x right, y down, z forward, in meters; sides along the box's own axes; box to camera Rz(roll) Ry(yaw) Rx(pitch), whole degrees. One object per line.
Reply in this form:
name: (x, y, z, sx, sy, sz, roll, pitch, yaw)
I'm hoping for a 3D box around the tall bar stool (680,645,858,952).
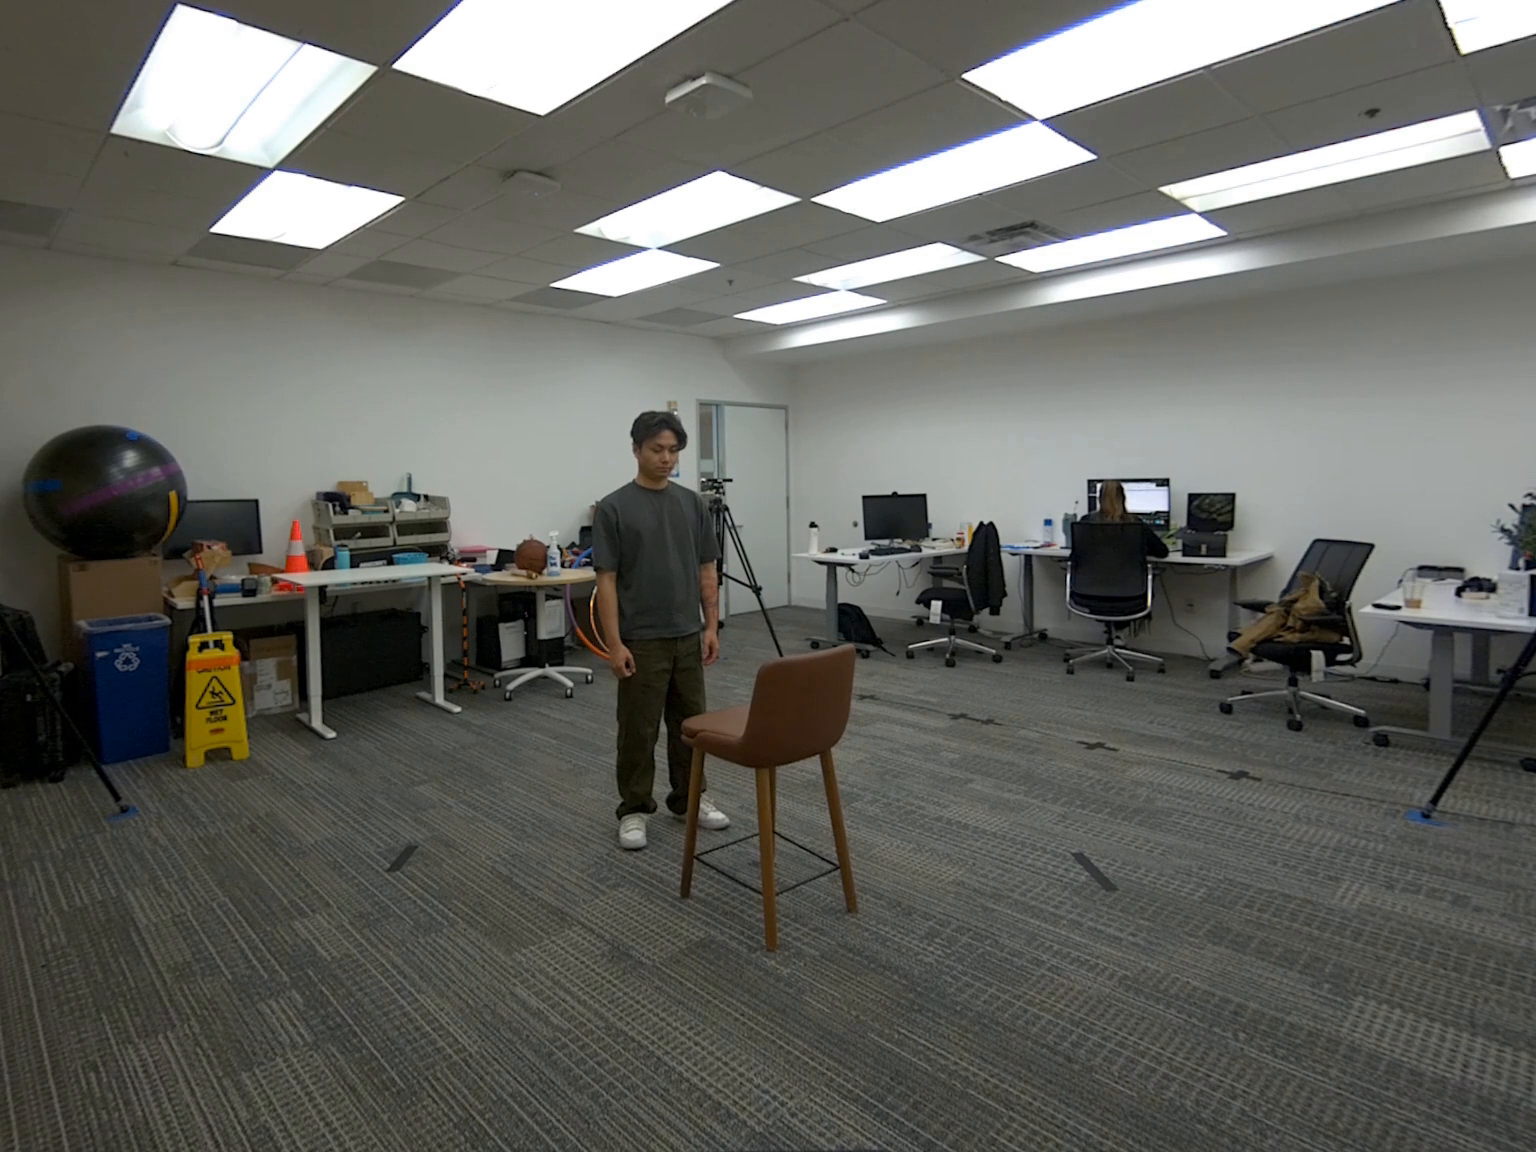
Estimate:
tall bar stool: (0.003, 0.647, 2.784, 0.444, 0.885, 0.482, -4, 7, -39)
